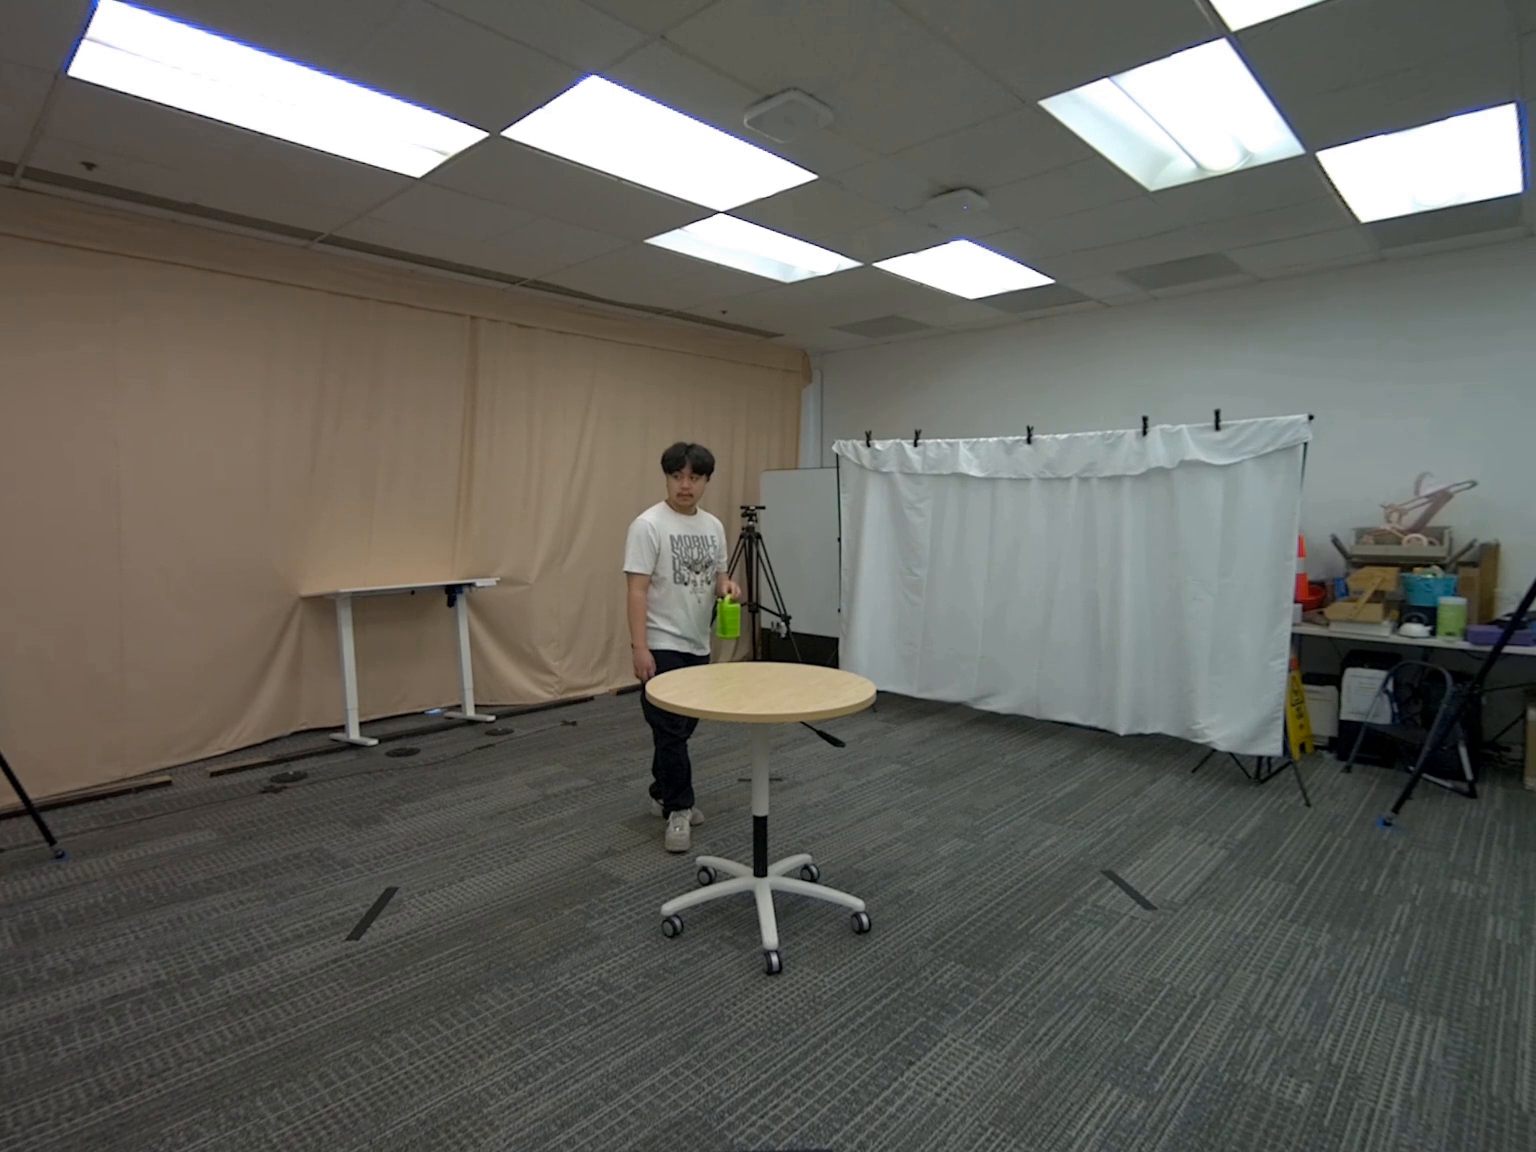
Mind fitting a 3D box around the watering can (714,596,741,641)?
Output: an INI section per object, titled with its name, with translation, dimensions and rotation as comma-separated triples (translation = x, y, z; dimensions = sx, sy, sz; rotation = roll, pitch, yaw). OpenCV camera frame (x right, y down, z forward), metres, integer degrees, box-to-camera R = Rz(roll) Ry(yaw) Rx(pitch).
[watering can]
translation = -0.183, 0.165, 3.430
dimensions = 0.100, 0.176, 0.271
rotation = 5, 2, 25
